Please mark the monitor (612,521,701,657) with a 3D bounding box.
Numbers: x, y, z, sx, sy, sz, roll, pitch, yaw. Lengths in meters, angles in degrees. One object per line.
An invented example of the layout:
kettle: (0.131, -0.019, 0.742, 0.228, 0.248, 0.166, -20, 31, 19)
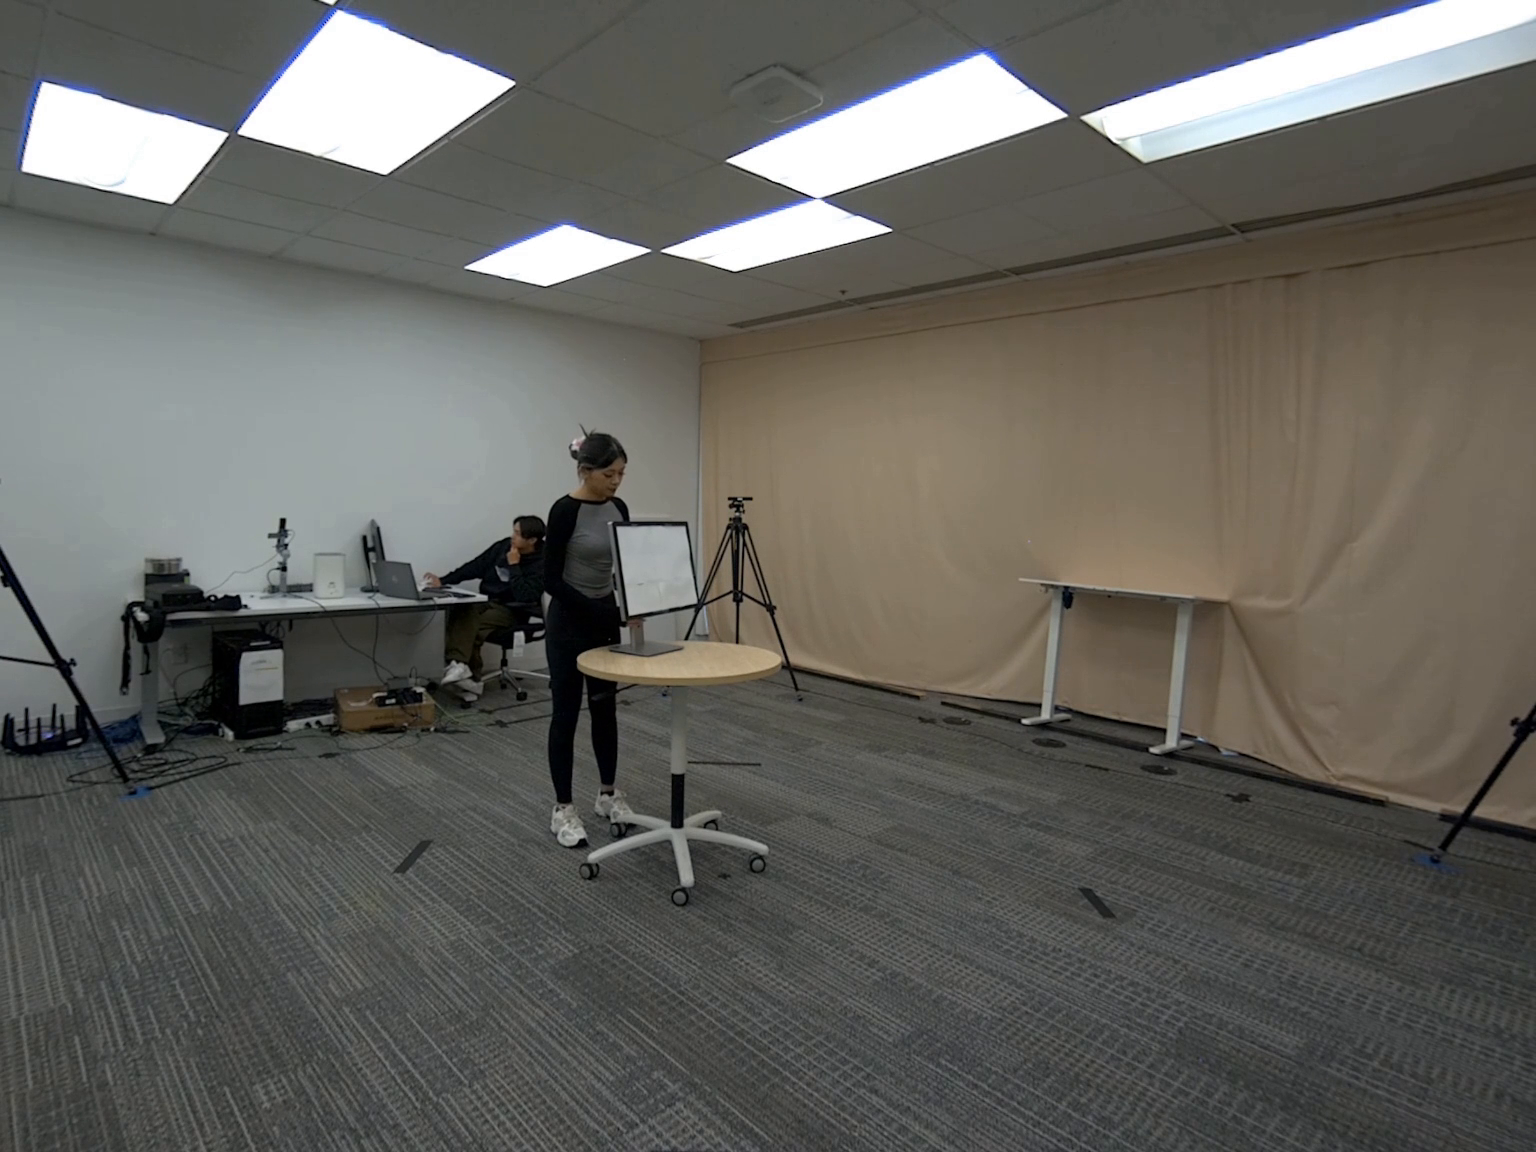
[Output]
monitor: (-0.481, 0.048, 3.311, 0.190, 0.521, 0.530, 4, 5, 23)
